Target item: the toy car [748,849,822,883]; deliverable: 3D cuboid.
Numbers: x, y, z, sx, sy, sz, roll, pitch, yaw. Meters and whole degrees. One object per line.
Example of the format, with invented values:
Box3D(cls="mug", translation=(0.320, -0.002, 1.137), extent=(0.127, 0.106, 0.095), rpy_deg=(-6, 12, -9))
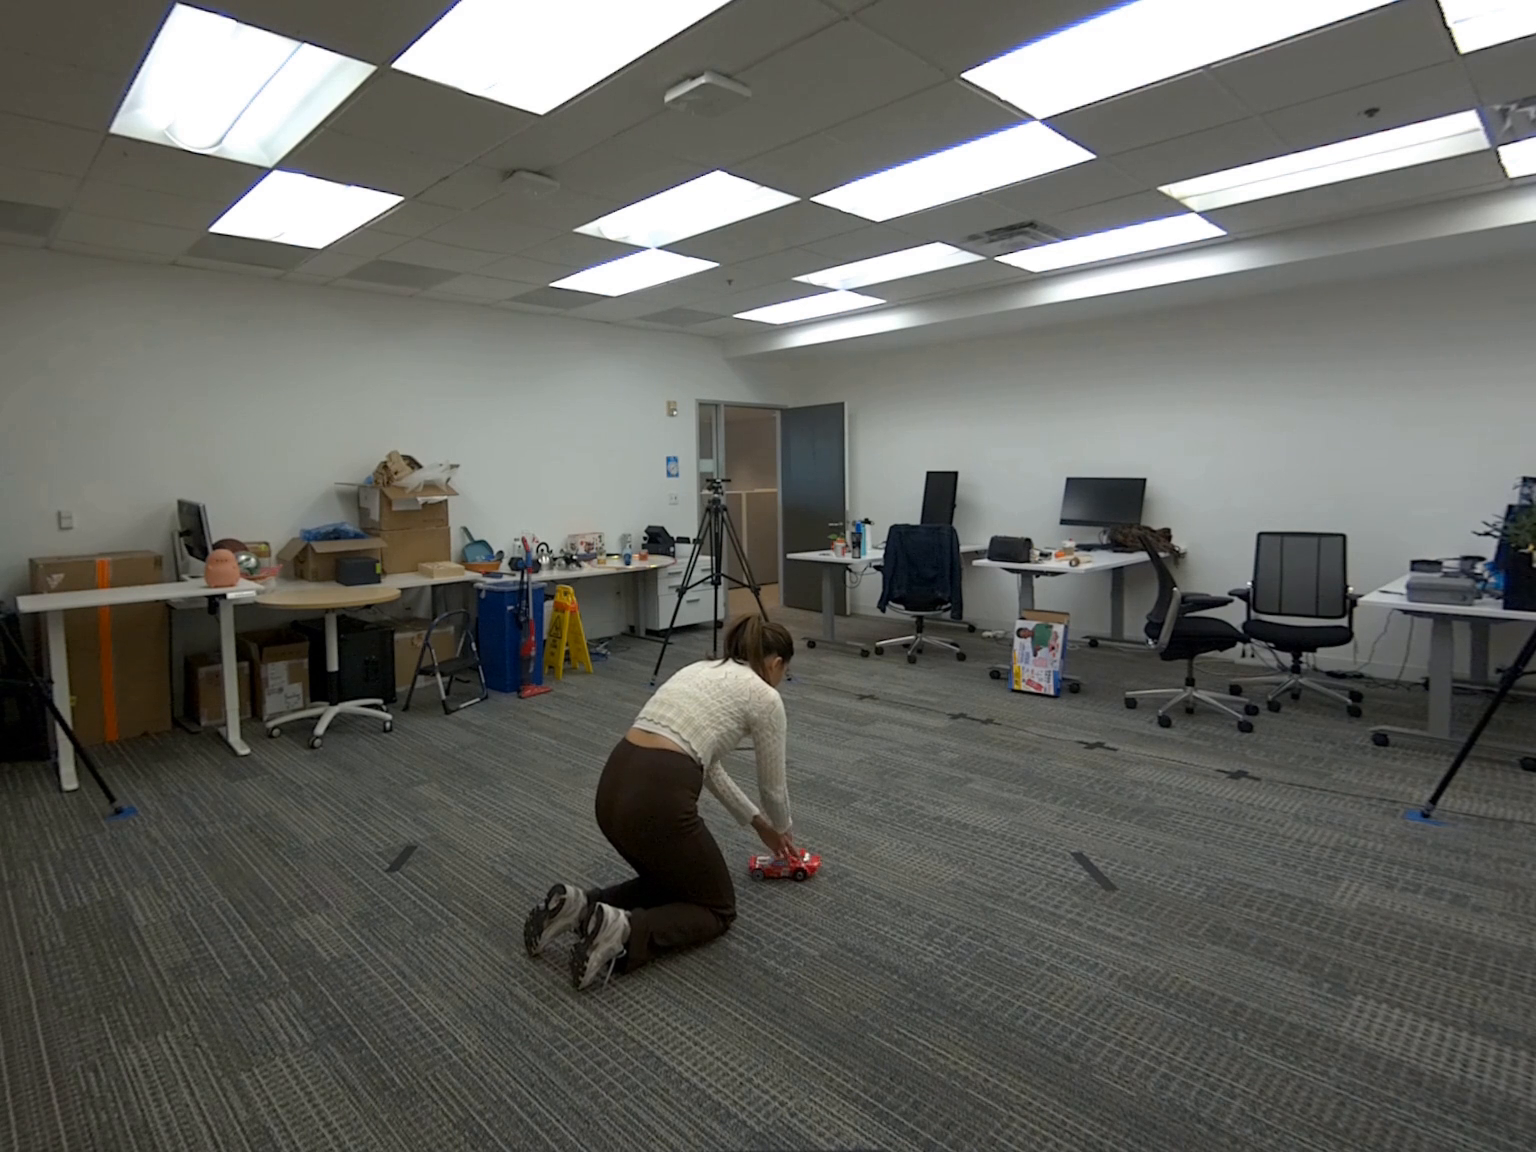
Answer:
Box3D(cls="toy car", translation=(0.066, 1.020, 3.011), extent=(0.256, 0.083, 0.130), rpy_deg=(-12, 4, 6))
